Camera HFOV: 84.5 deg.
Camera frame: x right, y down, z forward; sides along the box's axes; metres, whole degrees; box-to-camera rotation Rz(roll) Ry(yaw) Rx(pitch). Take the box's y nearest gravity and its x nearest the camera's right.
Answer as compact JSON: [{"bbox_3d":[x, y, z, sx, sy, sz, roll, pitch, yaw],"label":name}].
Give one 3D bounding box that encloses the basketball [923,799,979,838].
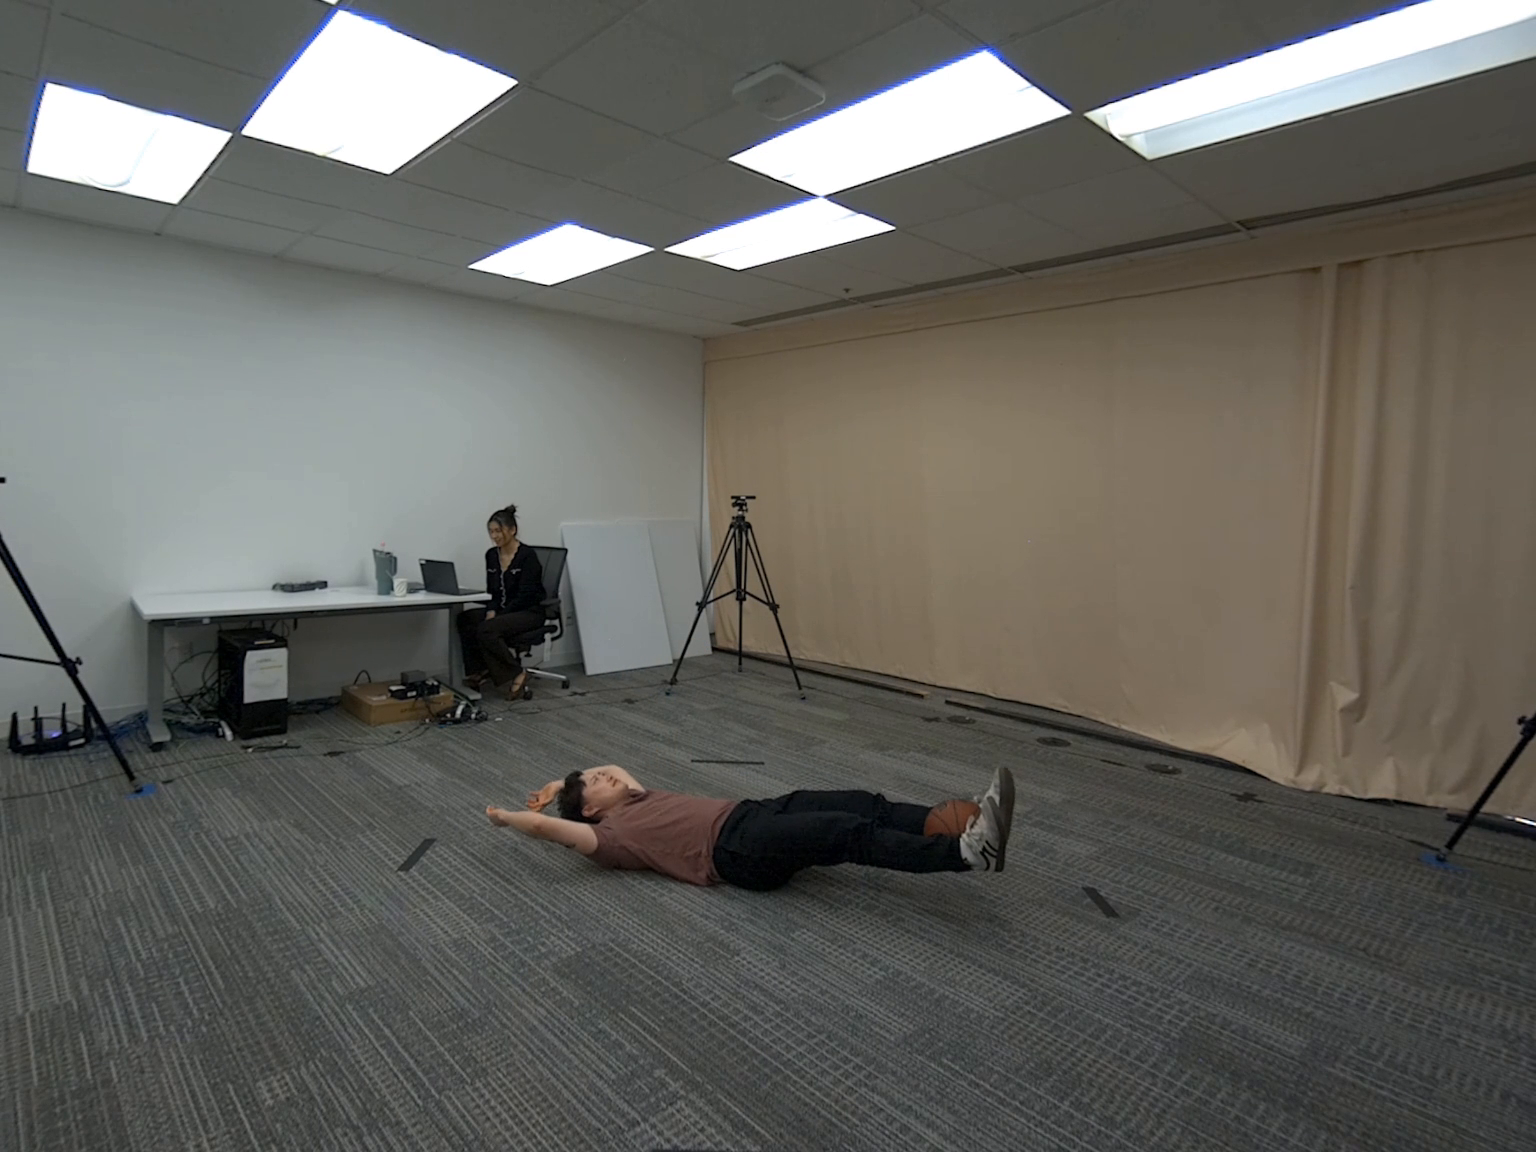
[{"bbox_3d":[0.650,0.876,2.849,0.236,0.234,0.237,0,8,-1],"label":"basketball"}]
